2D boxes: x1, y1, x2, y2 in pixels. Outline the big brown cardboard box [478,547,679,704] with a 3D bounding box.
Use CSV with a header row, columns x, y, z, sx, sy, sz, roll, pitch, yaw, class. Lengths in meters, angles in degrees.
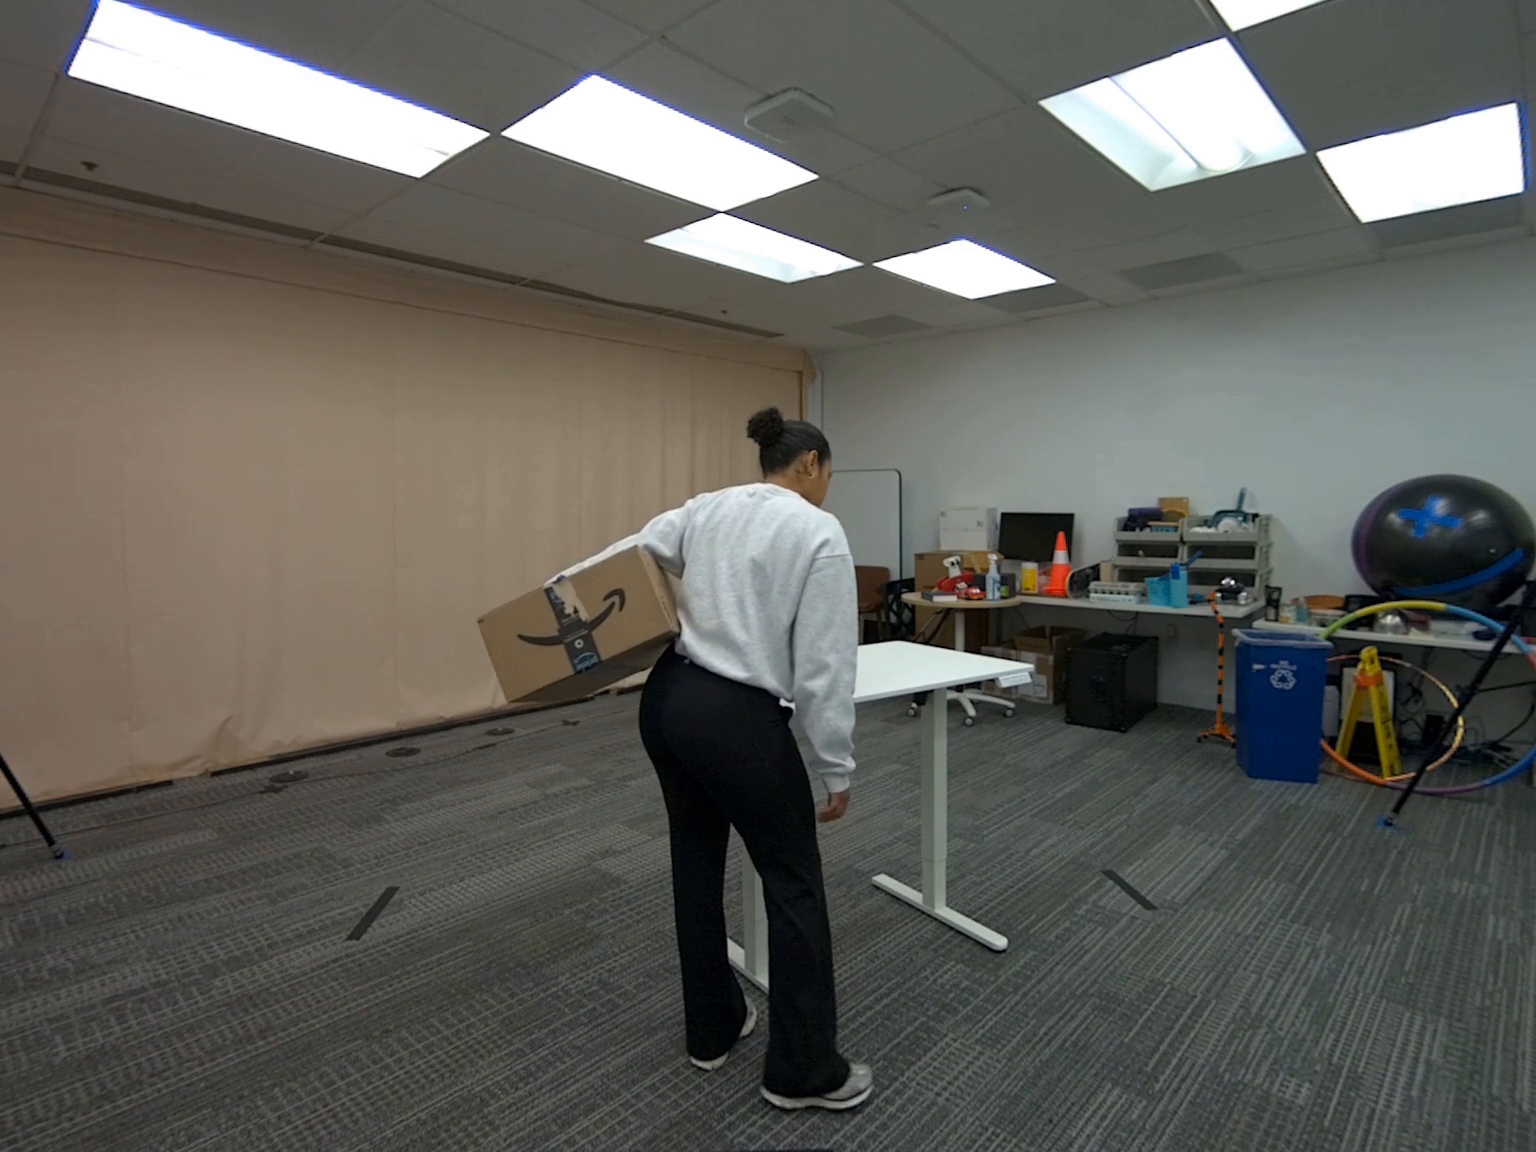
x,y,z,sx,sy,sz,roll,pitch,yaw,class
-0.426,0.148,2.185,0.418,0.235,0.583,-24,-7,2,big brown cardboard box
